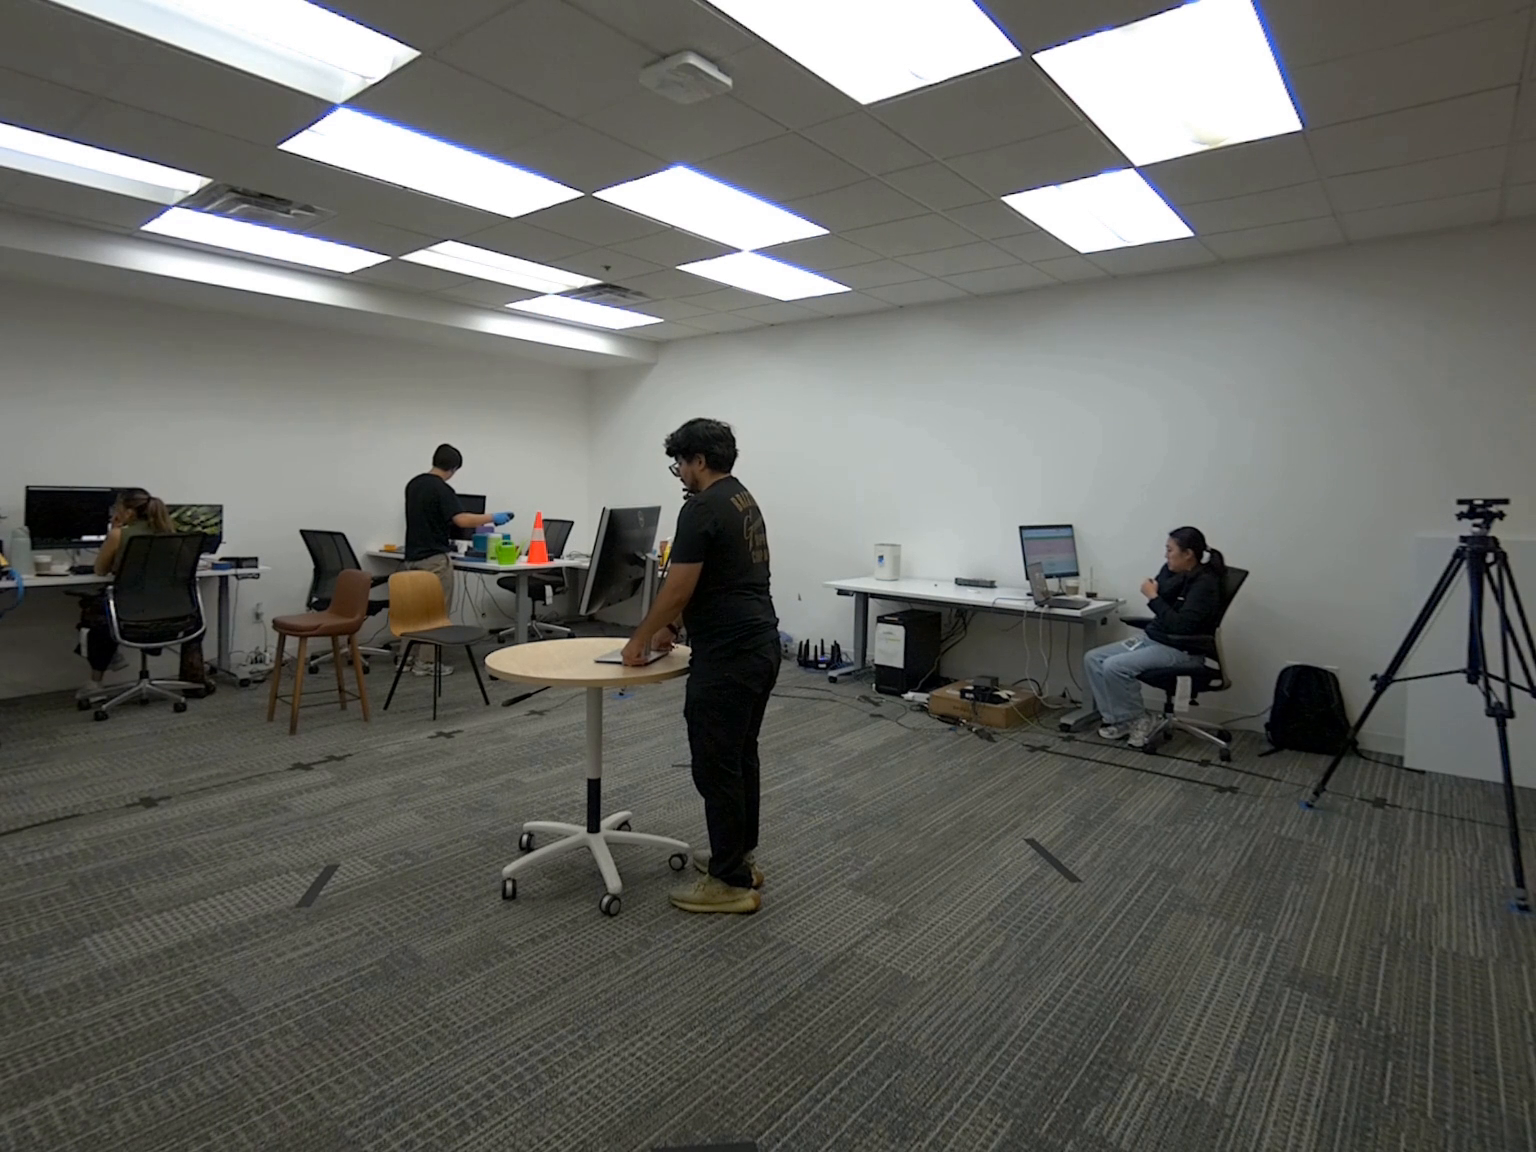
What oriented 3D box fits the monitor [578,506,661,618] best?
[{"bbox_3d":[-0.468,0.025,3.019,0.213,0.552,0.559,8,5,11],"label":"monitor"}]
